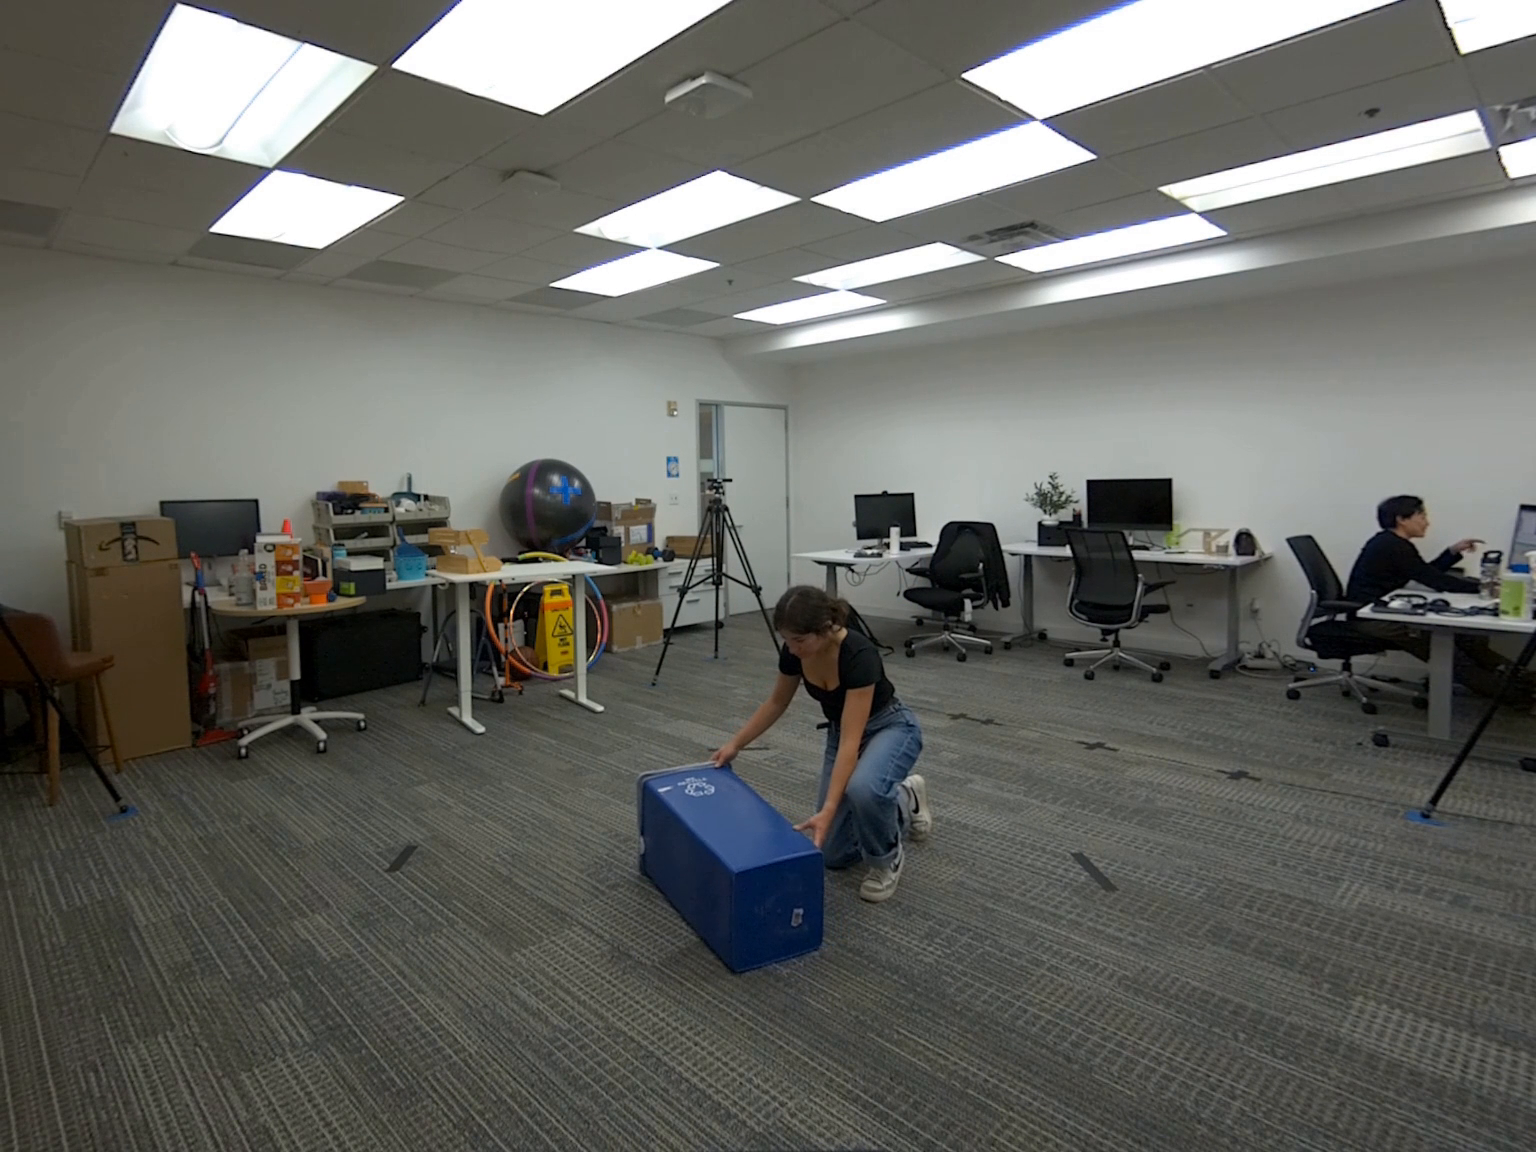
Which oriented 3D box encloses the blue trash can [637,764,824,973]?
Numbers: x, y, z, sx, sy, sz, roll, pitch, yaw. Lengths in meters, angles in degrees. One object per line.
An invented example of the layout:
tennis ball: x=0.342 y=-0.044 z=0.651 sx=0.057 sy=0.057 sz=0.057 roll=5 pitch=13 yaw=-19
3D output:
blue trash can: x=-0.129 y=0.917 z=2.775 sx=0.366 sy=0.376 sz=0.734 roll=-3 pitch=9 yaw=-27
